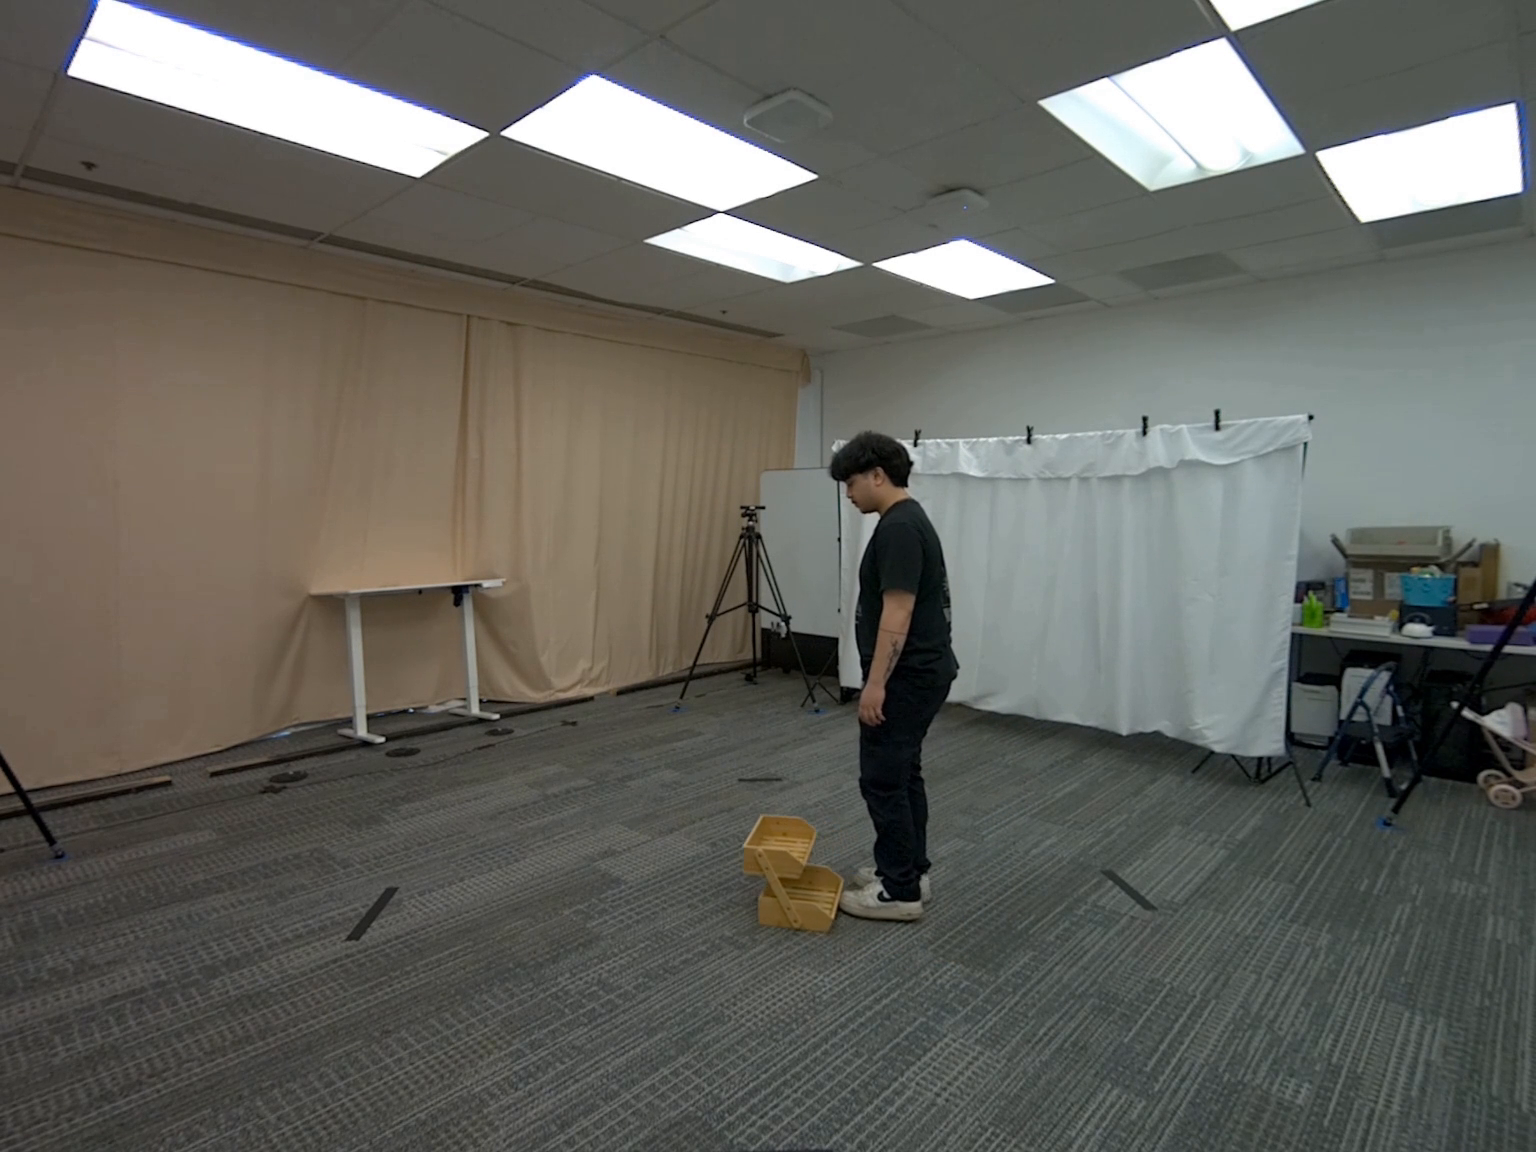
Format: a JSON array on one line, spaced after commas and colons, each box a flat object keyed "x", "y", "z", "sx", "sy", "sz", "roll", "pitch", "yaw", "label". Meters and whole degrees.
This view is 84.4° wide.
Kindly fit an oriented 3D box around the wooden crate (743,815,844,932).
[{"x": 0.103, "y": 1.024, "z": 2.916, "sx": 0.306, "sy": 0.273, "sz": 0.320, "roll": 0, "pitch": 4, "yaw": 12, "label": "wooden crate"}]
